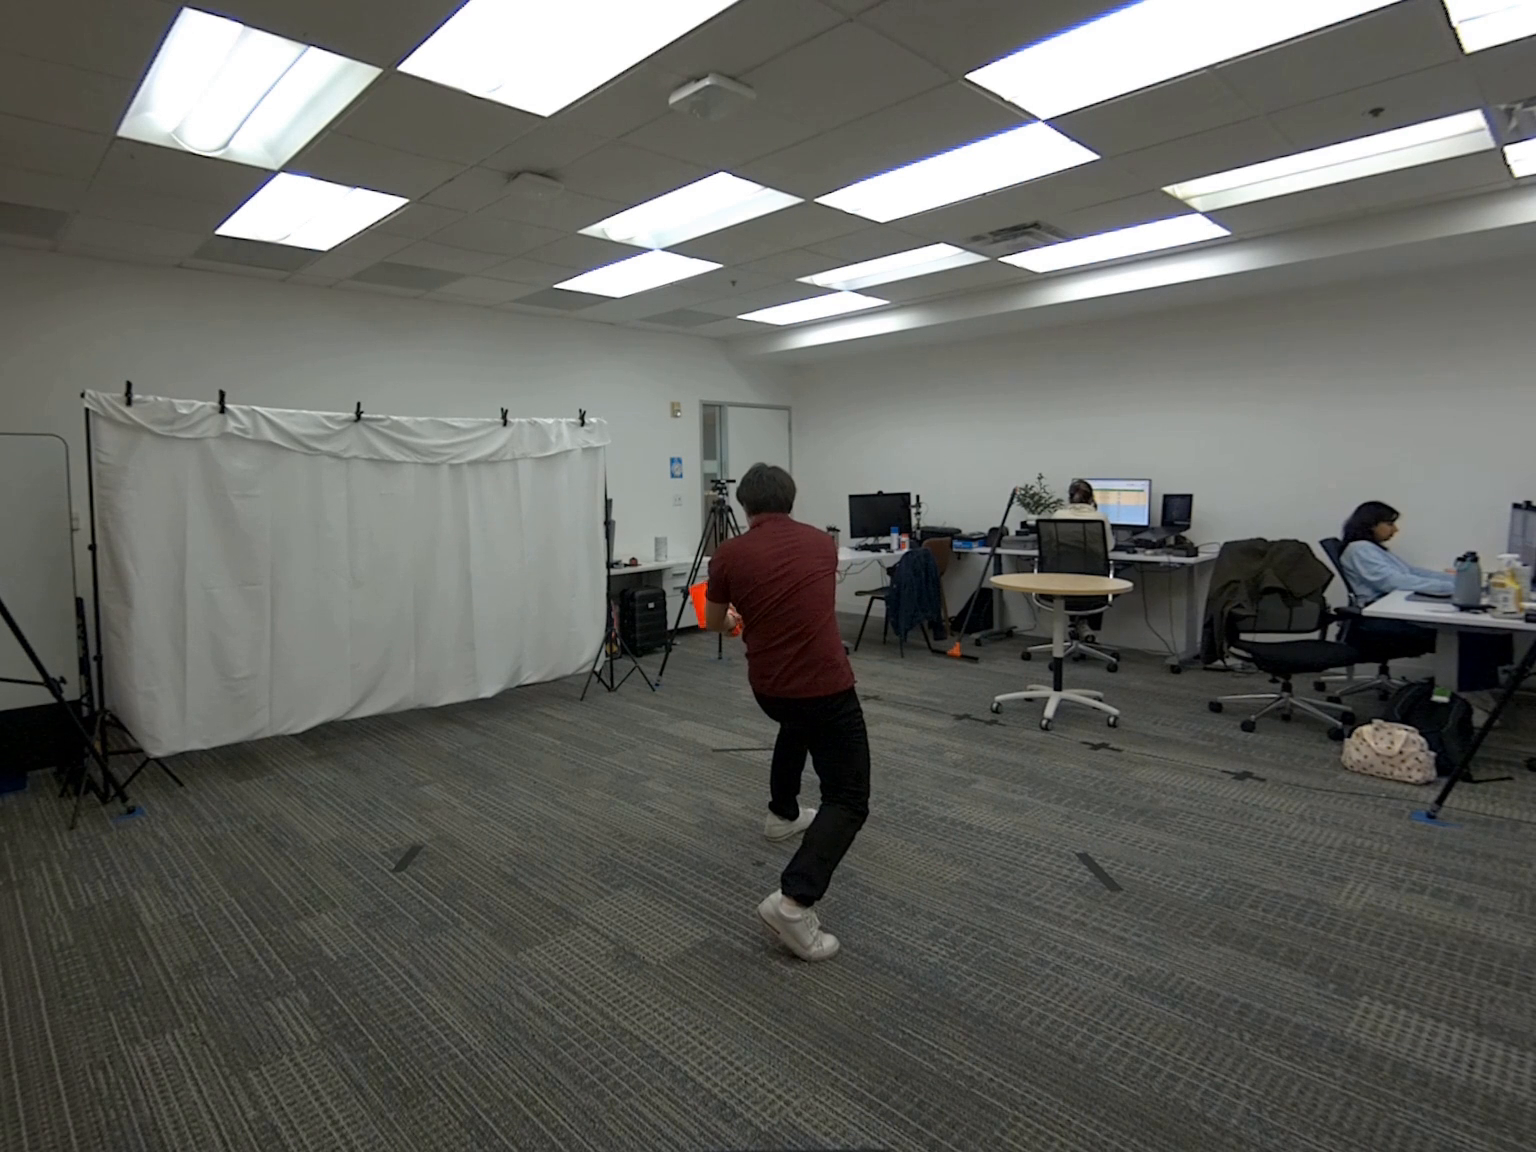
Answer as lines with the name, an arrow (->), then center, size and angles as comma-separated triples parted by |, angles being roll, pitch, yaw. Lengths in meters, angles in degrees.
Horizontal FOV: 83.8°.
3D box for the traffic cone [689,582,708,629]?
traffic cone -> -0.185, 0.164, 3.500 | 0.203, 0.201, 0.391 | -16, 19, 0
